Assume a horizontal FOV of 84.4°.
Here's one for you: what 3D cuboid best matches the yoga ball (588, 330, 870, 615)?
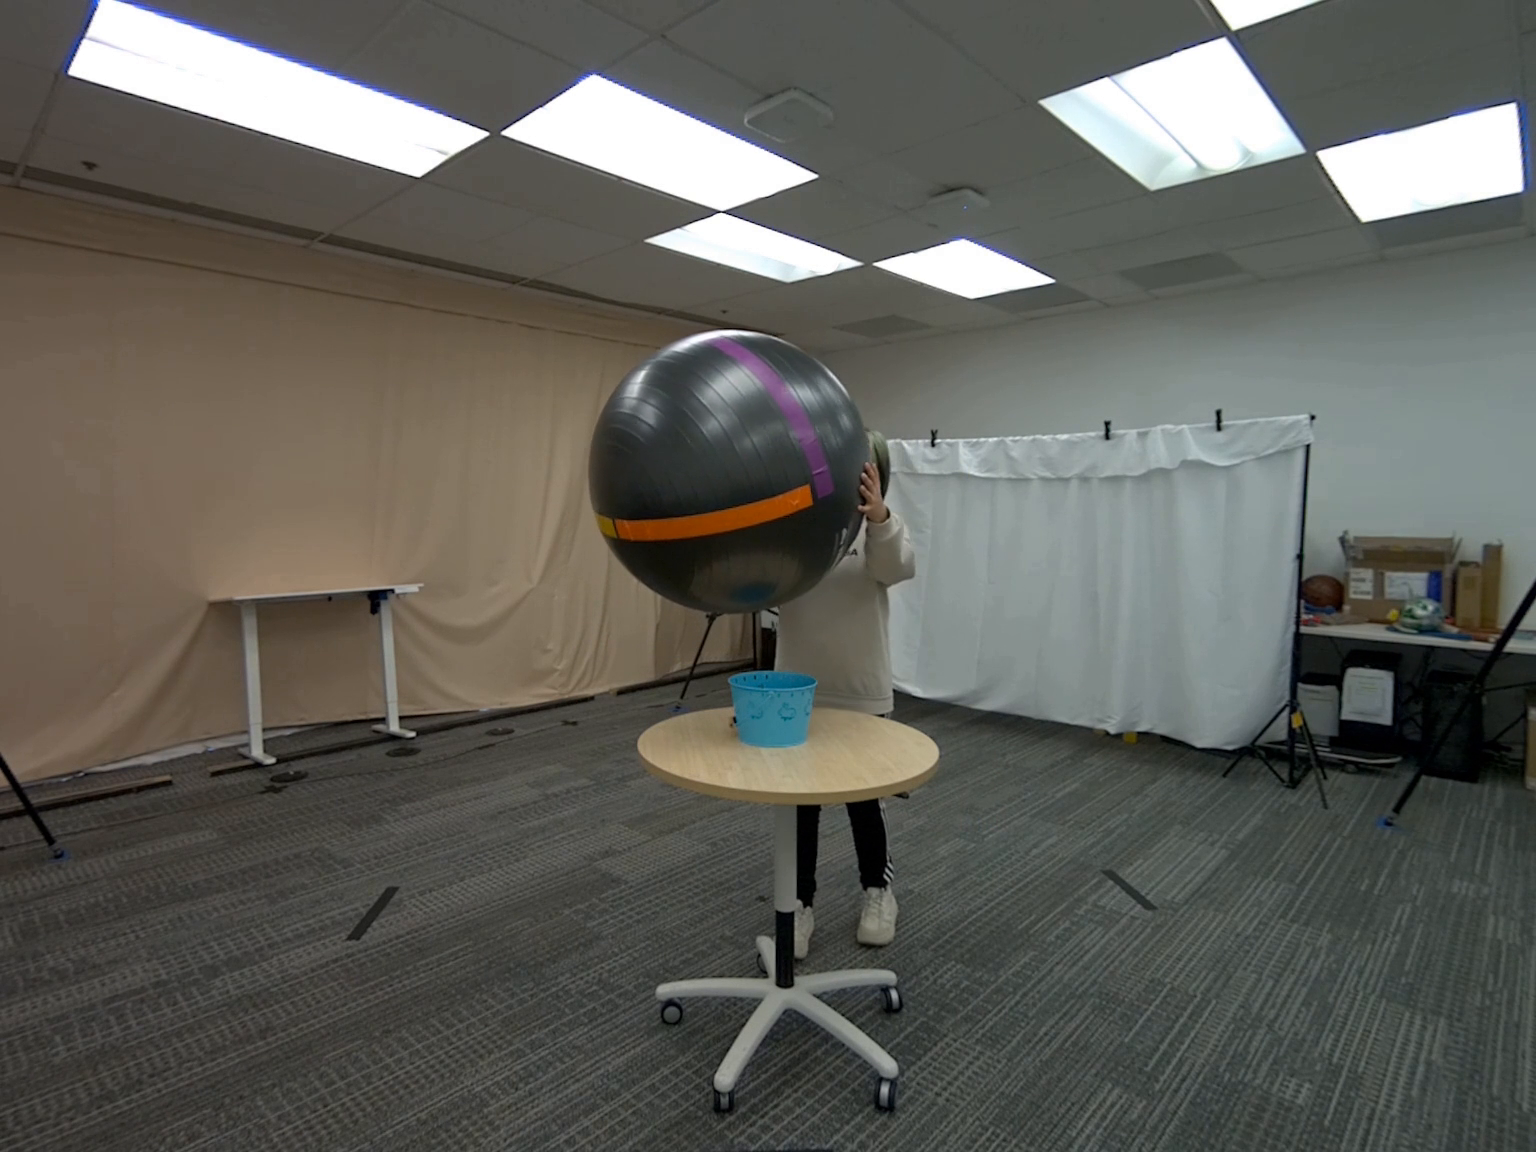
[{"bbox_3d":[-0.107,-0.273,2.266,0.757,0.756,0.760,0,4,-2],"label":"yoga ball"}]
